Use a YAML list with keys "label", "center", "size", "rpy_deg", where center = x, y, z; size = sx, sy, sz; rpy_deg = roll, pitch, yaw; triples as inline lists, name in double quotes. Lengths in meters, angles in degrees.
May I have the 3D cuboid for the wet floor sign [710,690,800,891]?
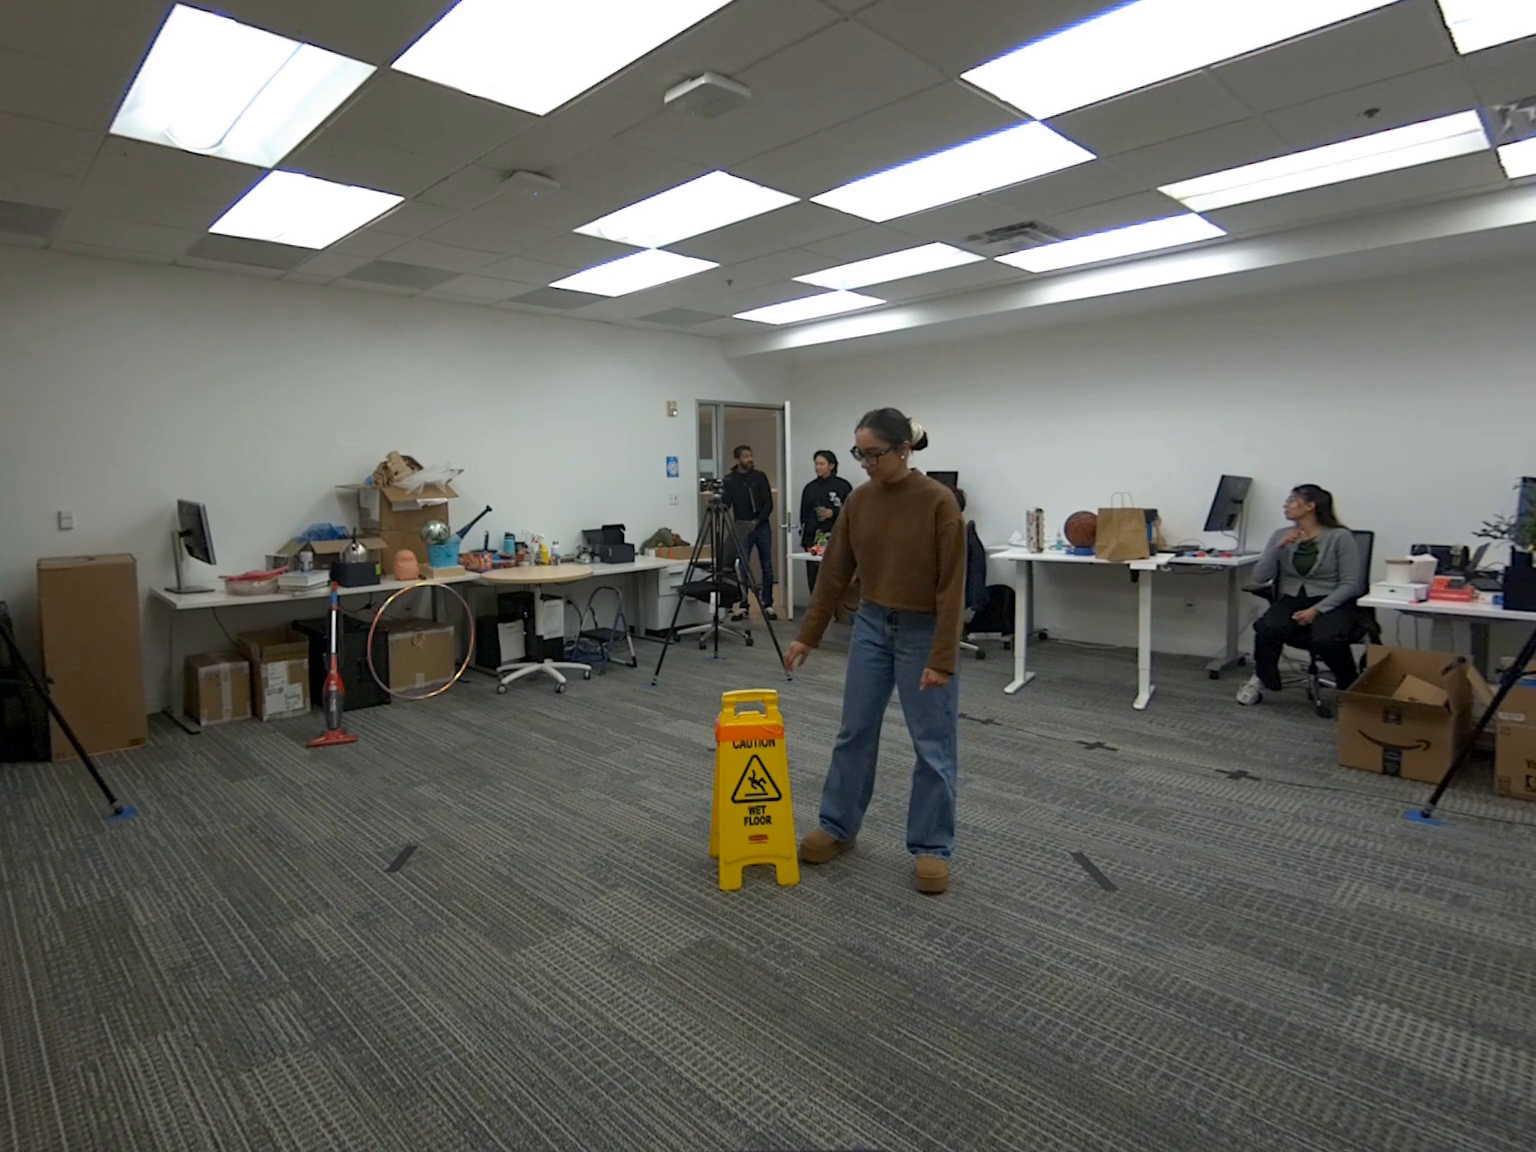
- label: "wet floor sign"
  center: [-0.057, 0.726, 3.037]
  size: [0.280, 0.644, 0.293]
  rpy_deg: [-2, 4, -10]
